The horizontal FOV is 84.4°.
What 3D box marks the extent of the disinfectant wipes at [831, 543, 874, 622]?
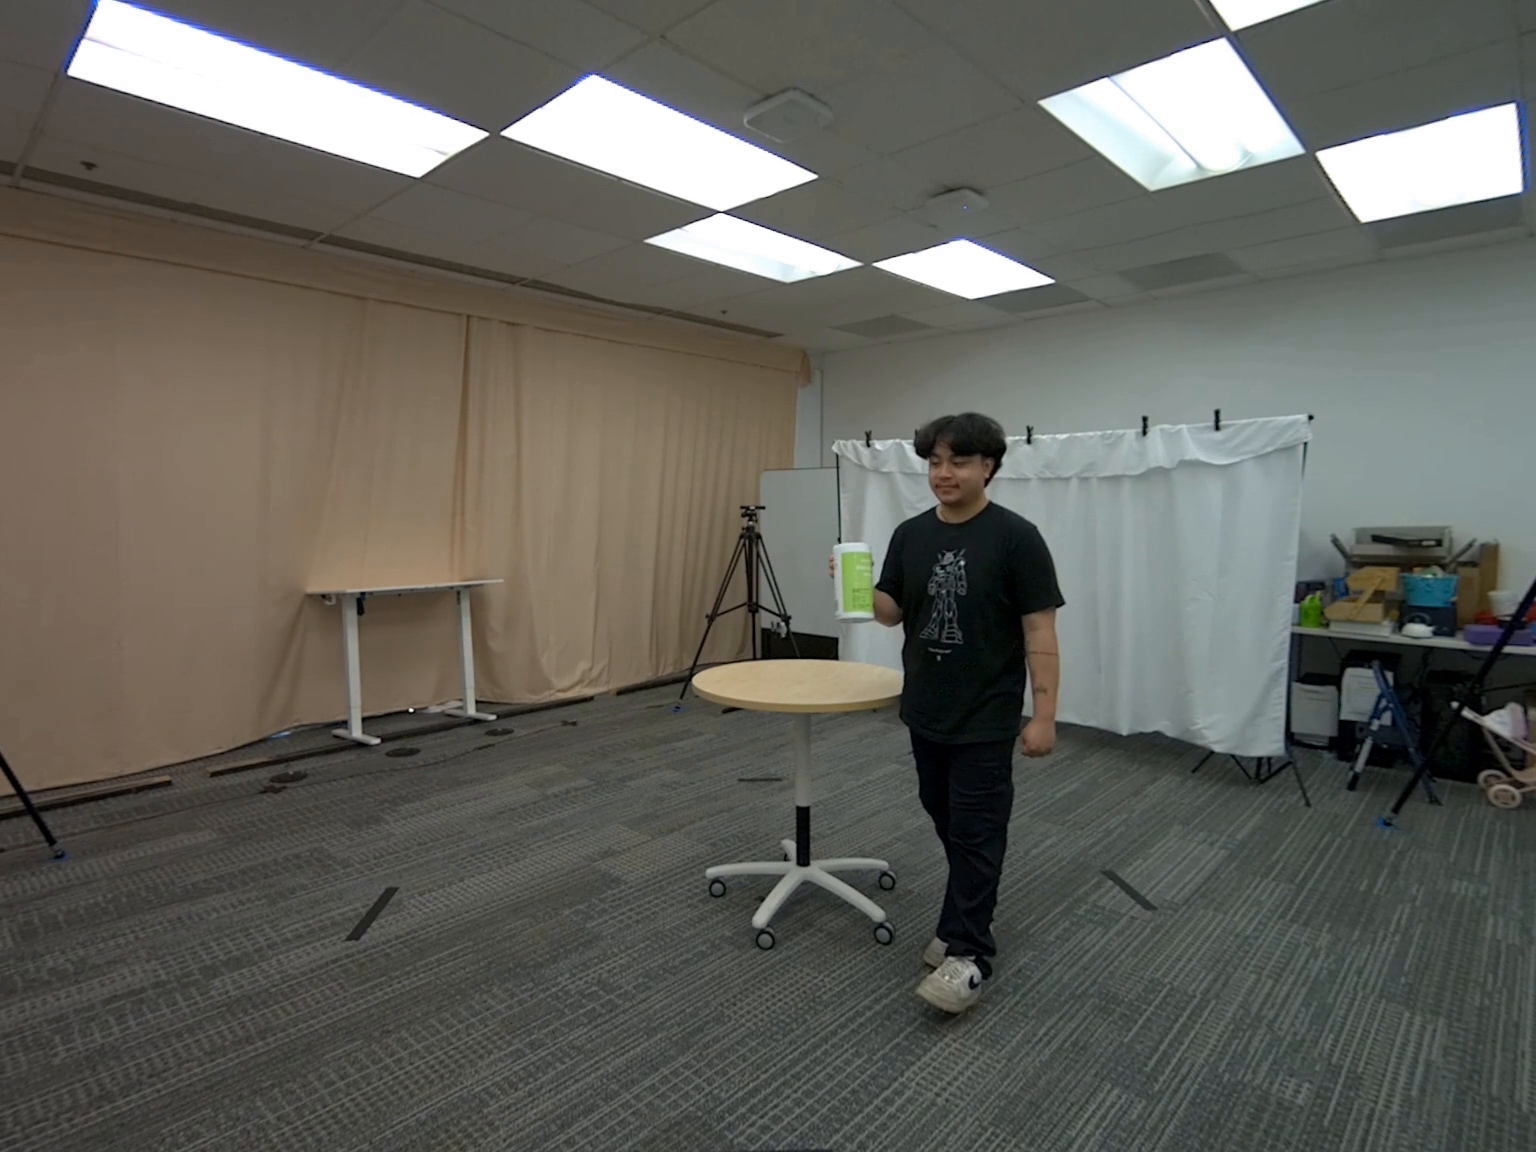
[{"bbox_3d":[0.251,0.023,2.374,0.117,0.219,0.117,-2,-9,-2],"label":"disinfectant wipes"}]
